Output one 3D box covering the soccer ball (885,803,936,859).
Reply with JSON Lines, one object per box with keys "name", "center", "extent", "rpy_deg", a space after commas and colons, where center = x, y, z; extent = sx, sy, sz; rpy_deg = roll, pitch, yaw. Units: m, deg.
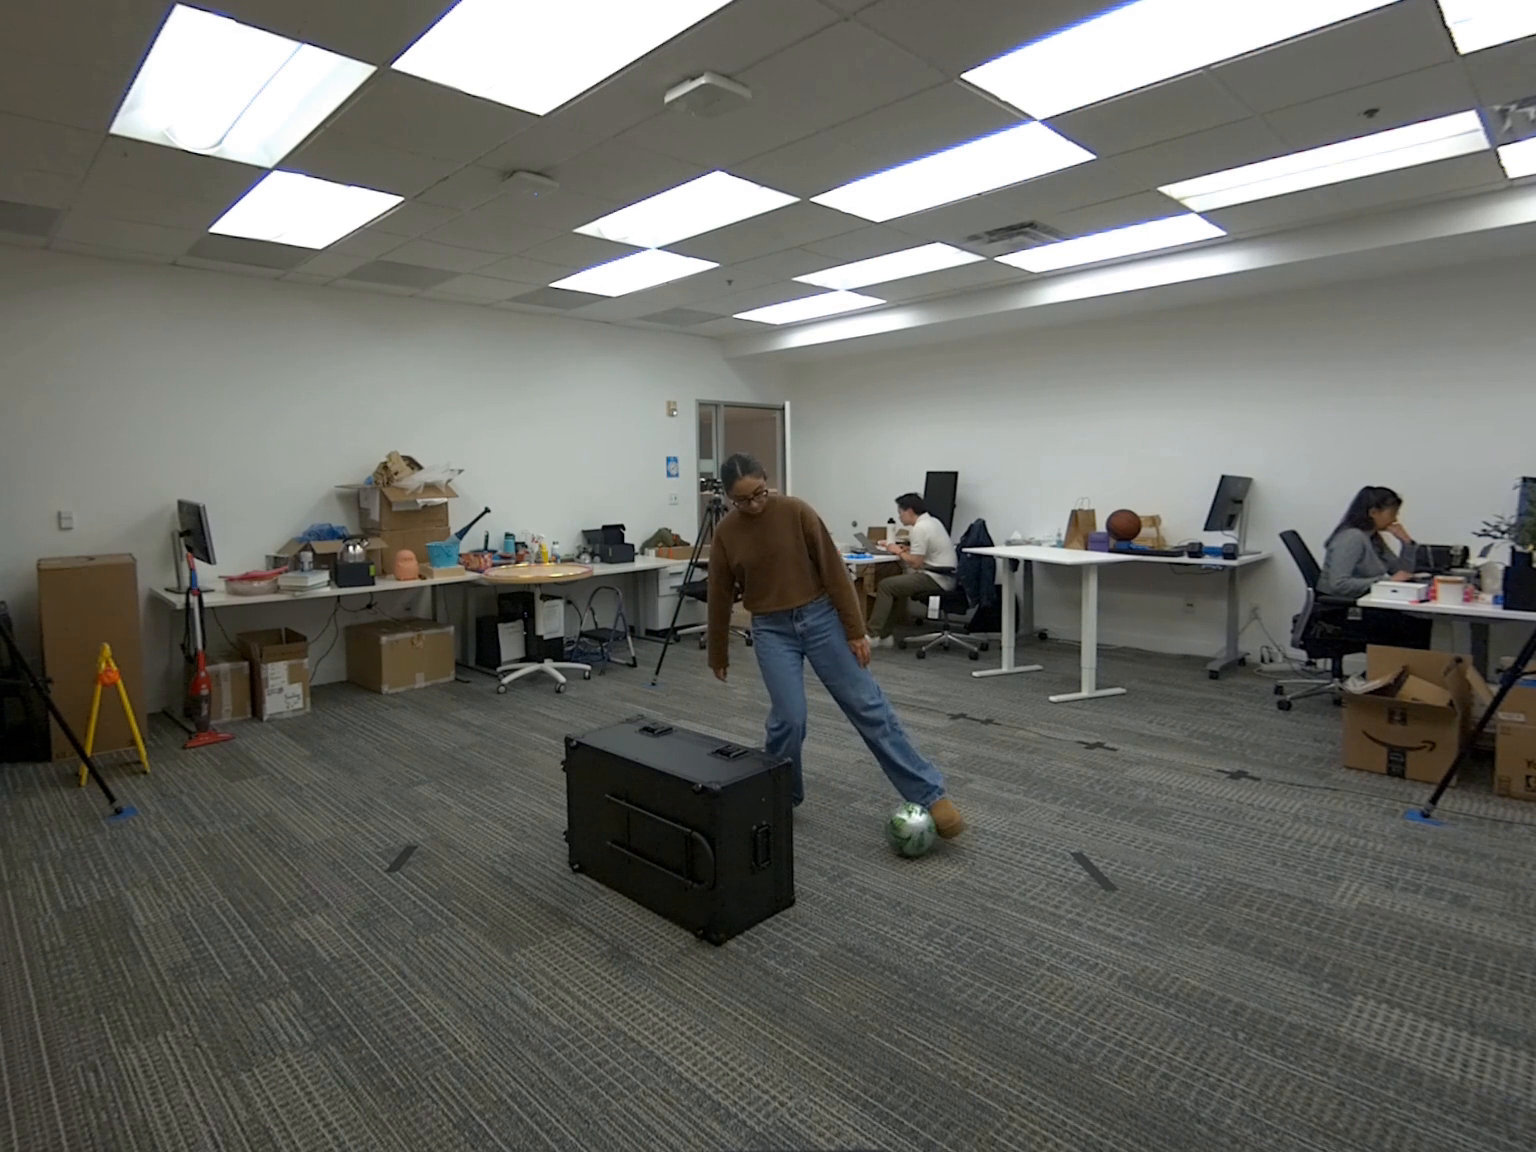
{"name": "soccer ball", "center": [0.485, 0.927, 3.145], "extent": [0.187, 0.187, 0.188], "rpy_deg": [-1, 5, -2]}
